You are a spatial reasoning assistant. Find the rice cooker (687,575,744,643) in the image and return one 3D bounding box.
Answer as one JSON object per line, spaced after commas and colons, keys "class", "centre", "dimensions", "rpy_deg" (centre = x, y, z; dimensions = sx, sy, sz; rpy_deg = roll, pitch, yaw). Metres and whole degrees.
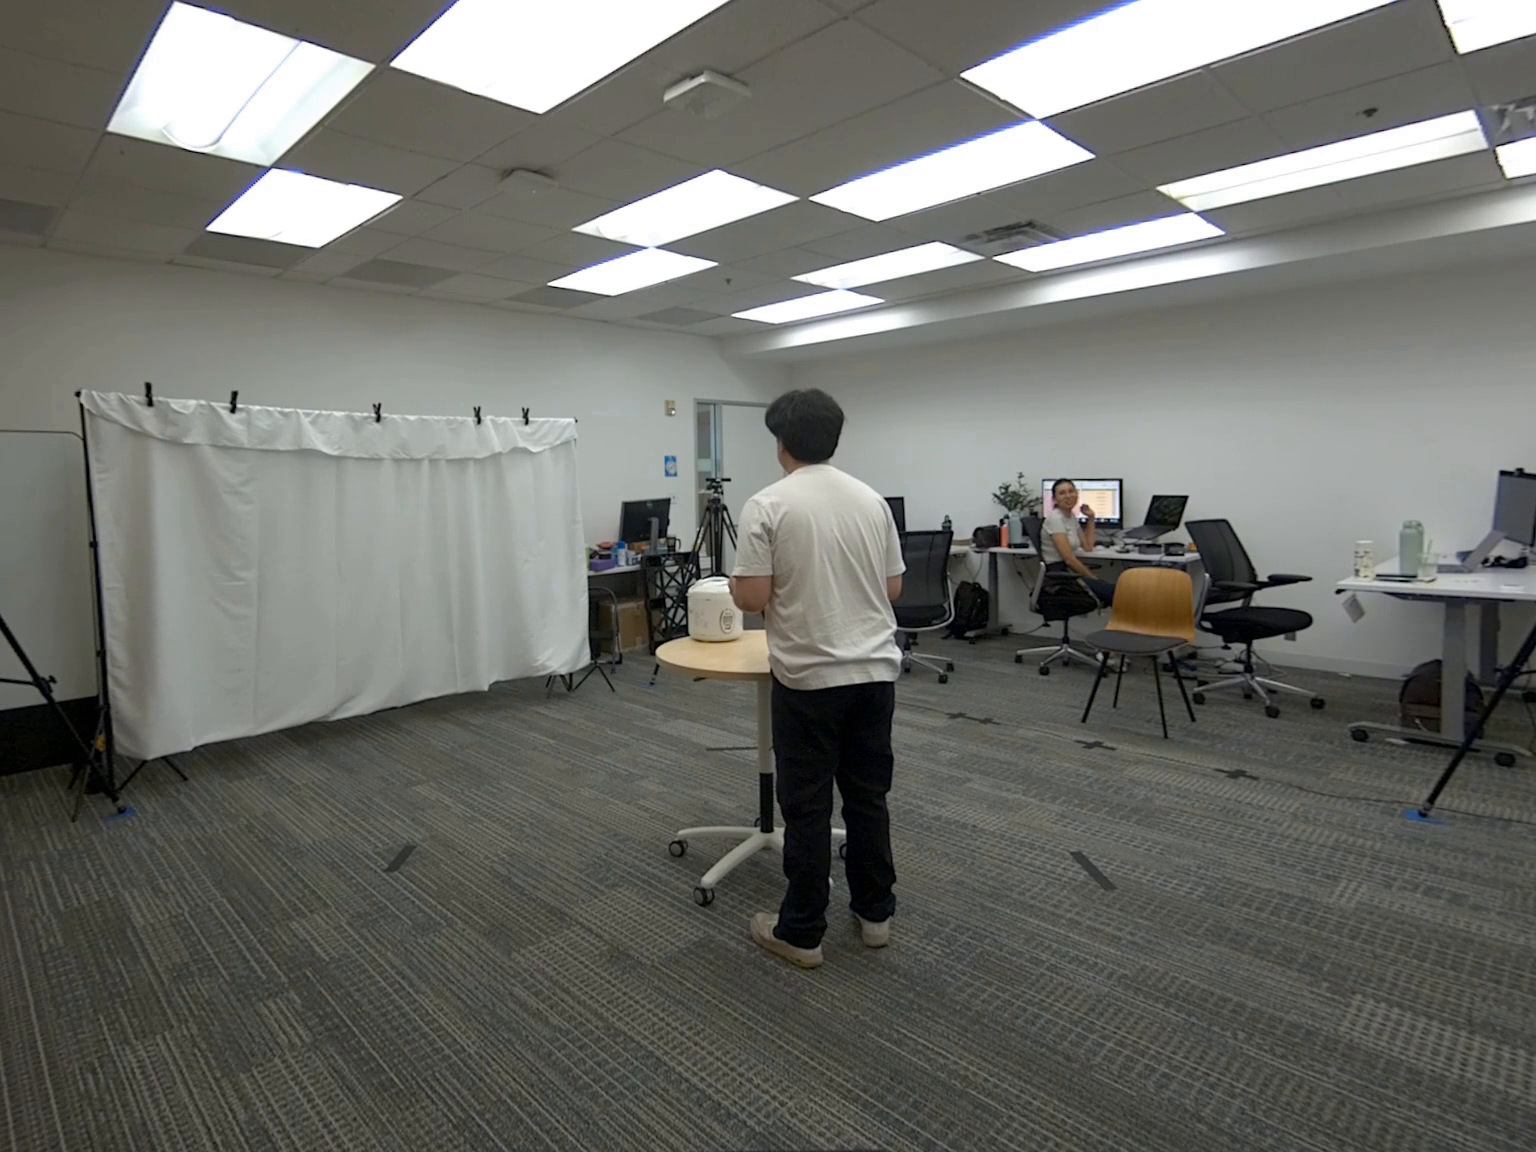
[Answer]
{"class": "rice cooker", "centre": [-0.193, 0.119, 3.217], "dimensions": [0.216, 0.232, 0.223], "rpy_deg": [-4, 4, -26]}
